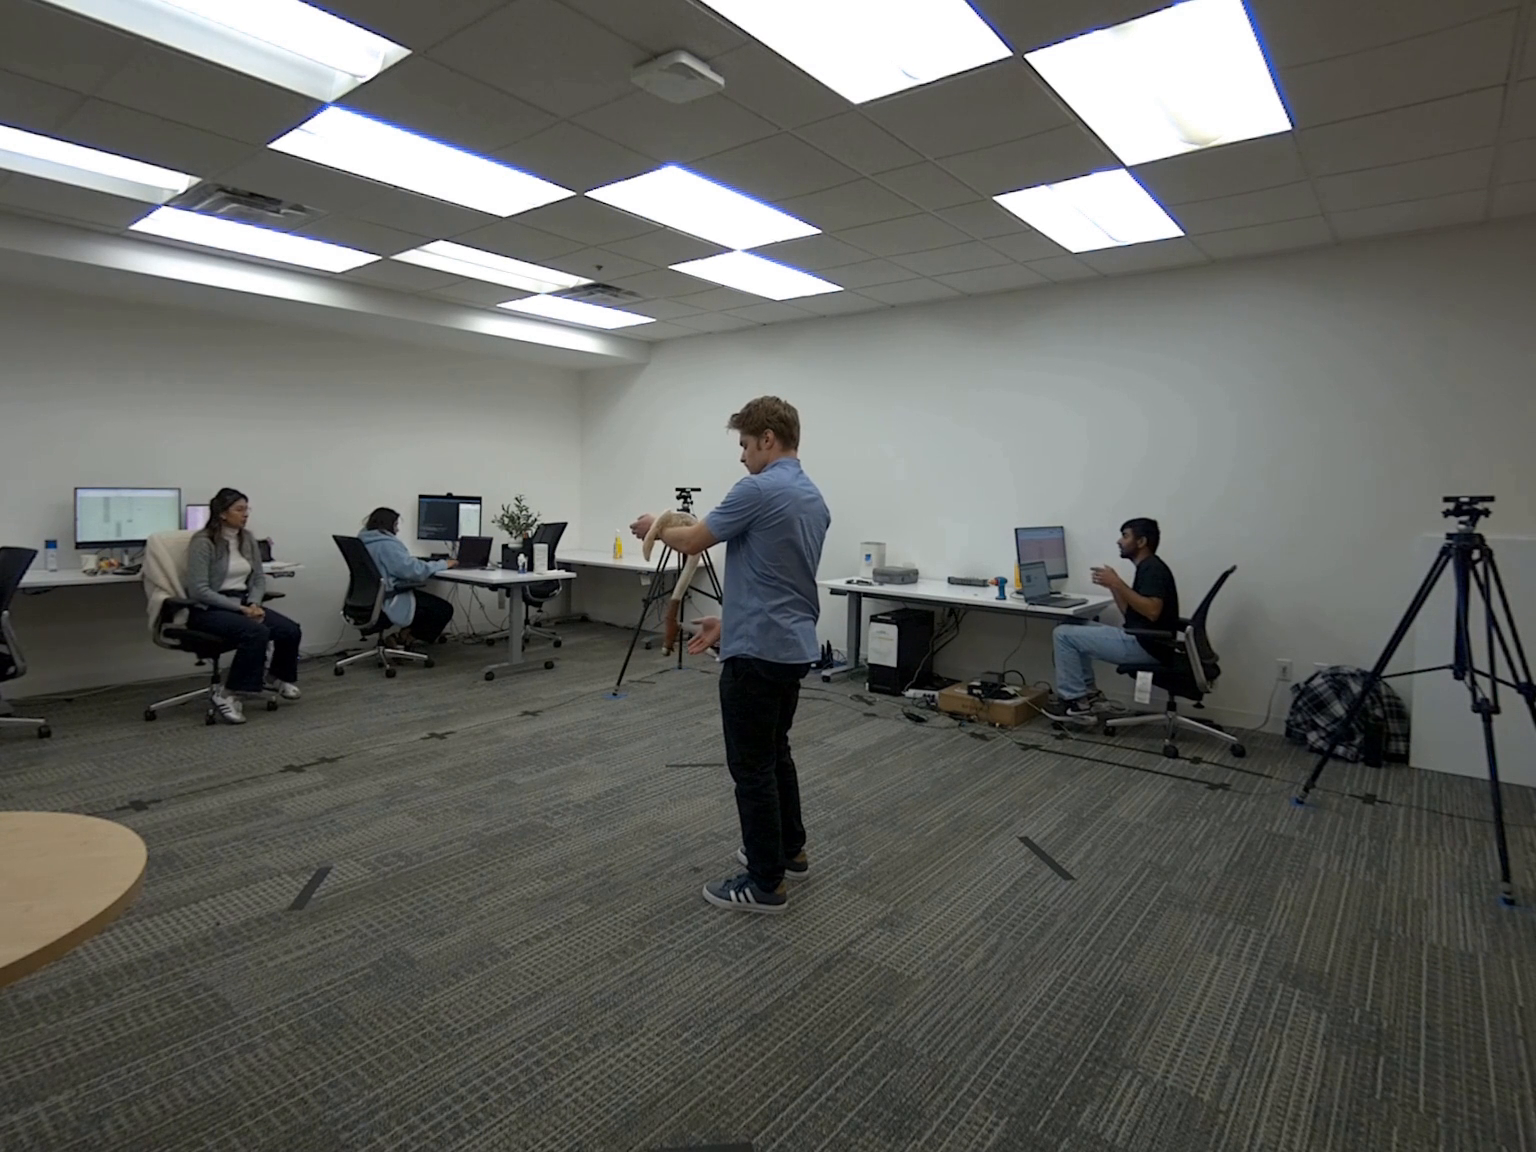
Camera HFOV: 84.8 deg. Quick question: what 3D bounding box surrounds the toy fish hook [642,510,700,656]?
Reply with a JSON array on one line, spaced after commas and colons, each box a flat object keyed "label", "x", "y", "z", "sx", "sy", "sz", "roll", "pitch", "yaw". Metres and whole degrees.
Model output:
[{"label": "toy fish hook", "x": -0.370, "y": 0.022, "z": 2.971, "sx": 0.219, "sy": 0.508, "sz": 0.049, "roll": 10, "pitch": -5, "yaw": -20}]
